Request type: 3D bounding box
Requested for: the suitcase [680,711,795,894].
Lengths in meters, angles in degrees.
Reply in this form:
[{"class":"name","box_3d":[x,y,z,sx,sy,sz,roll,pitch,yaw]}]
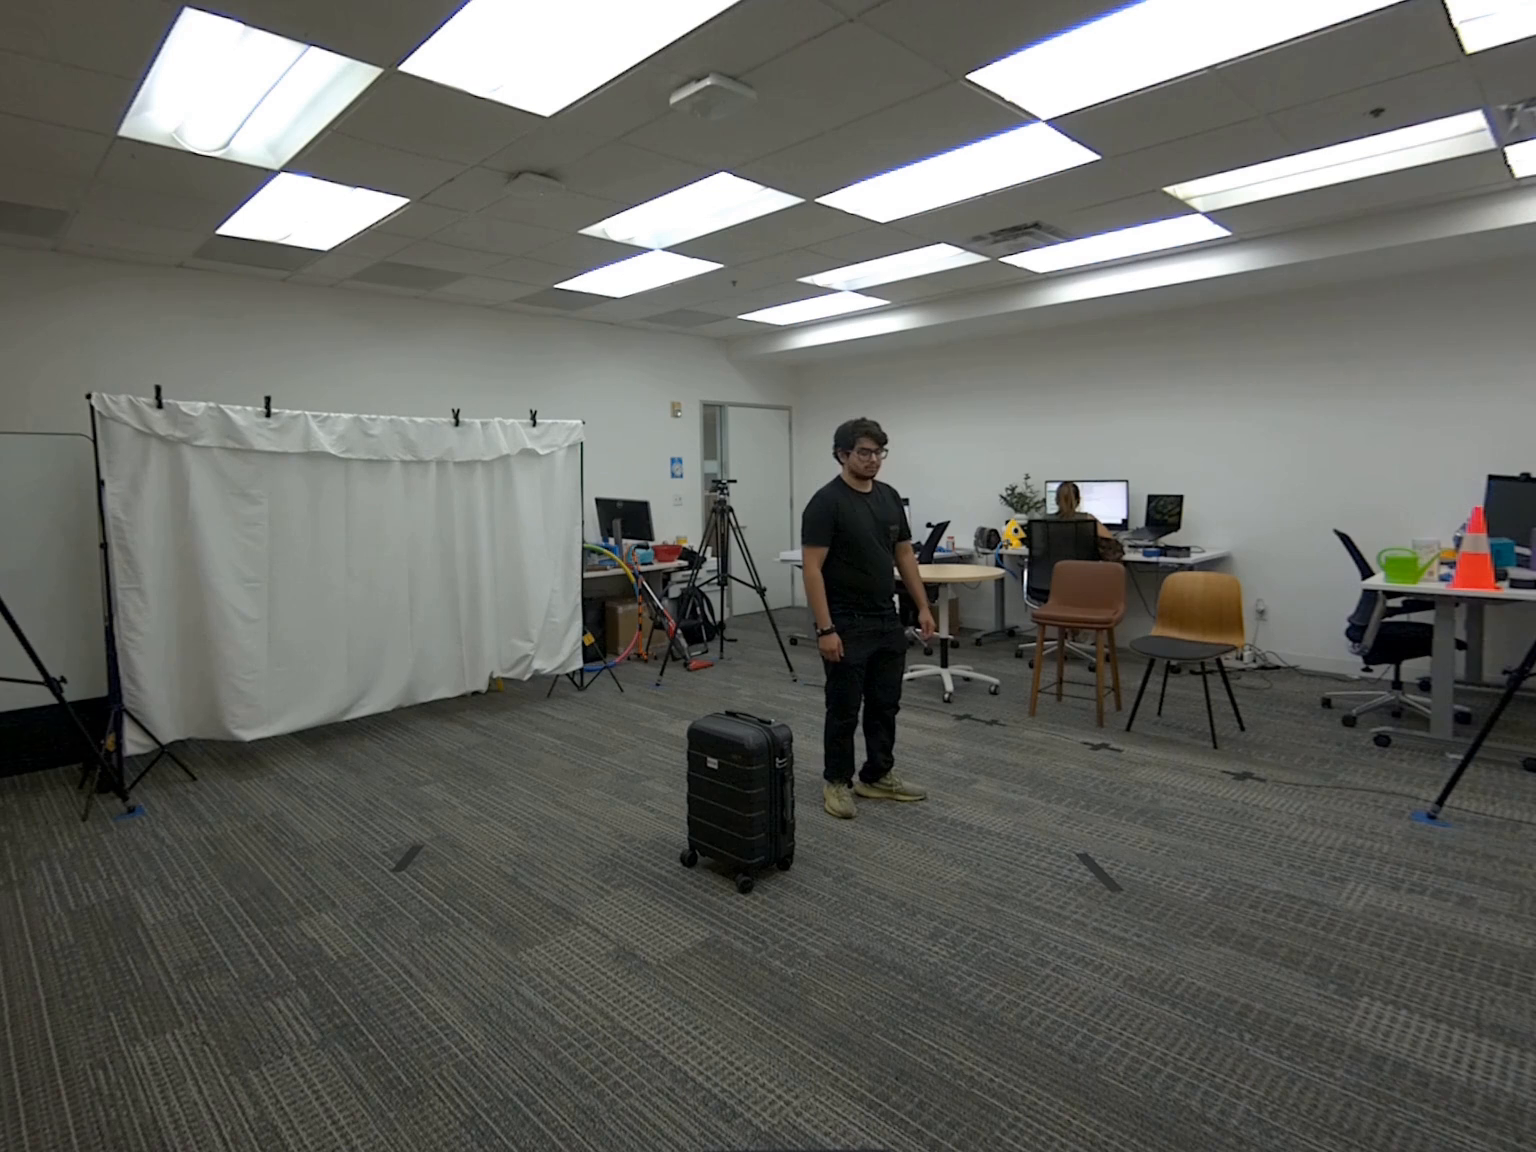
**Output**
[{"class":"suitcase","box_3d":[-0.098,0.777,3.068,0.387,0.547,0.241,5,6,44]}]
